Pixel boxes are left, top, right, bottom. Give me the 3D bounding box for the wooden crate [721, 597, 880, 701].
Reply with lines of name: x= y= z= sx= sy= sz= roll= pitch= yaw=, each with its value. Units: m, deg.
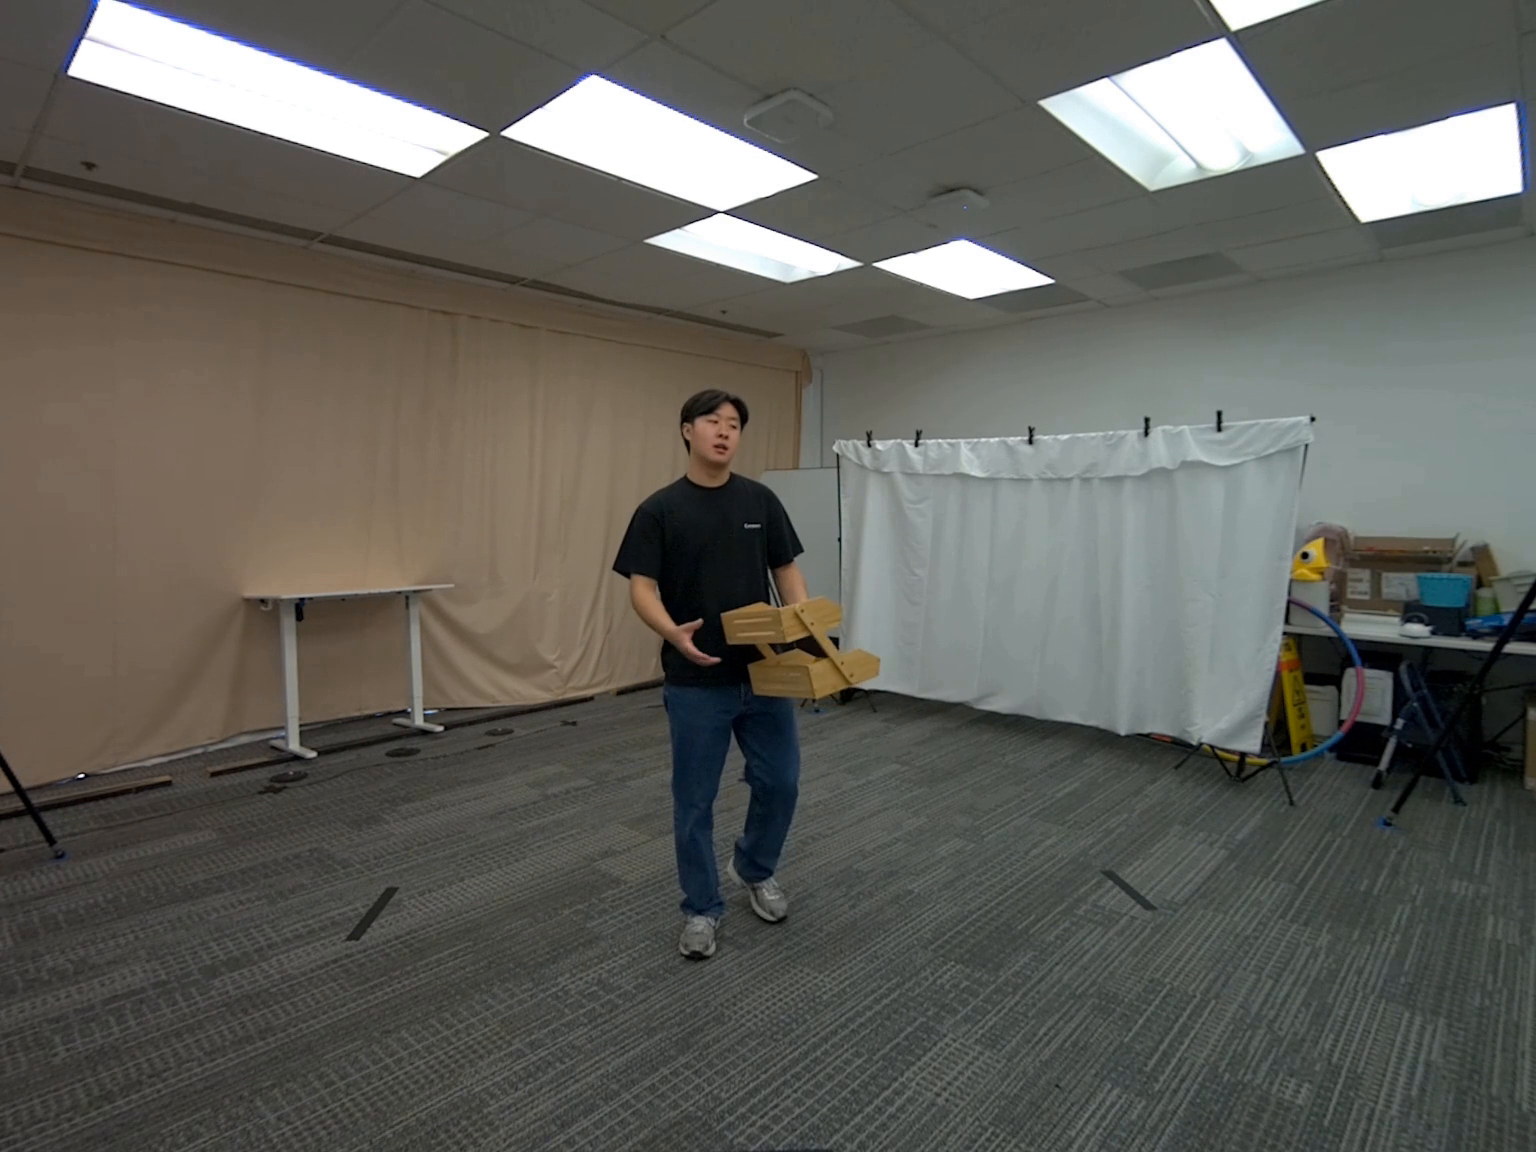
wooden crate: x=0.098 y=0.195 z=2.407 sx=0.295 sy=0.273 sz=0.333 roll=-15 pitch=3 yaw=-34
